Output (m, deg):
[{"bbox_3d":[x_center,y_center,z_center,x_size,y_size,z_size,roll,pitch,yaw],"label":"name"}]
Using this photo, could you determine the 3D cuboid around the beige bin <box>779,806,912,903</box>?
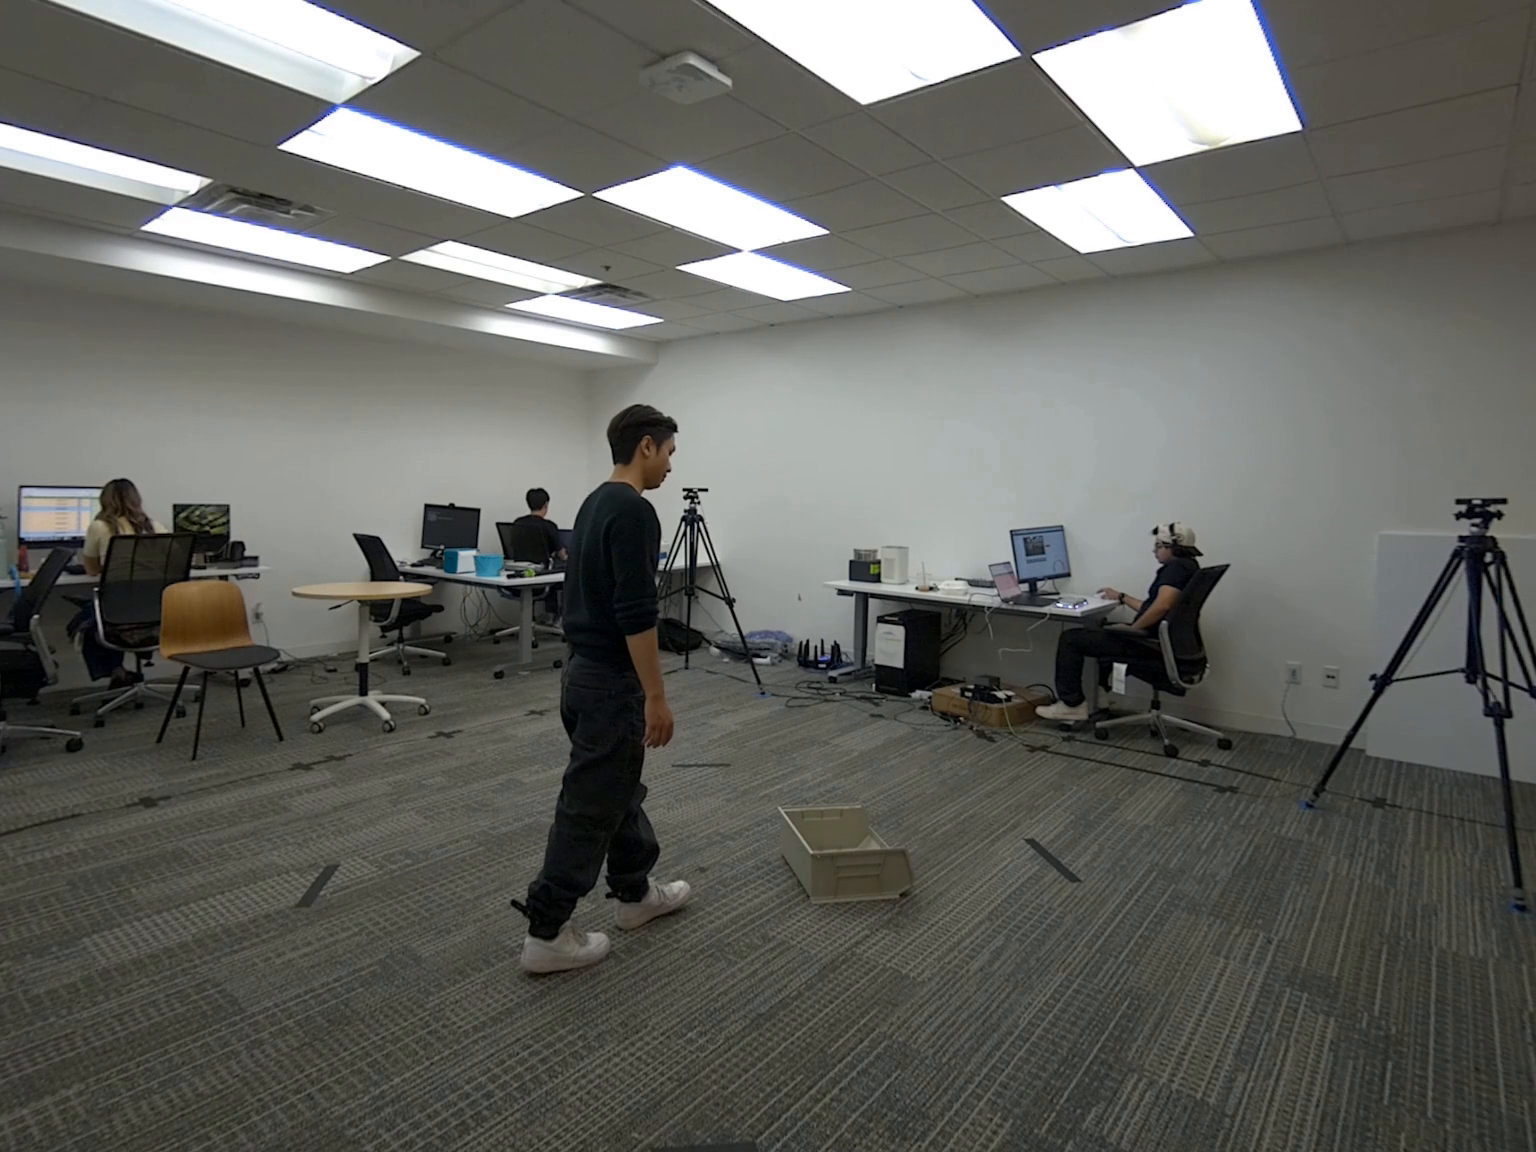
[{"bbox_3d":[0.280,1.000,3.094,0.372,0.188,0.430,0,6,-13],"label":"beige bin"}]
